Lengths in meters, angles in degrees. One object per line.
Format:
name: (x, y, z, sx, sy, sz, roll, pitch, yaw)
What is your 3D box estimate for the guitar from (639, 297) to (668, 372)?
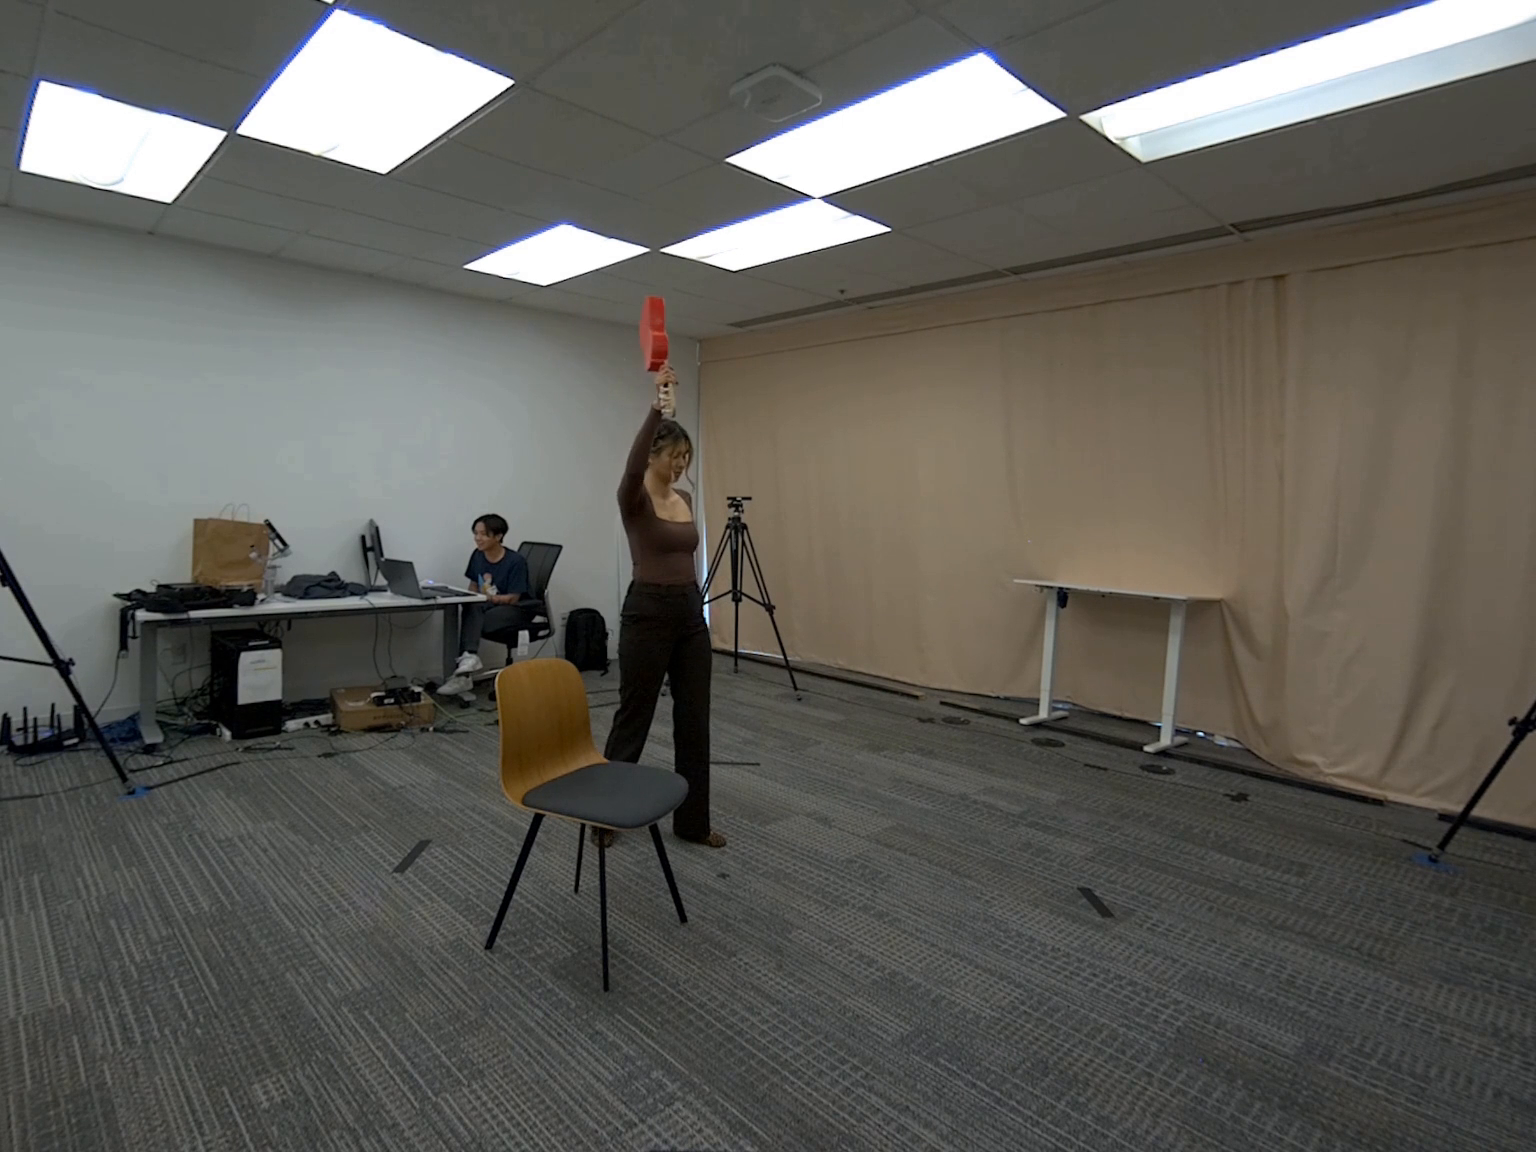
guitar: (-0.387, -0.771, 2.926, 0.070, 0.511, 0.190, -1, -40, -16)
